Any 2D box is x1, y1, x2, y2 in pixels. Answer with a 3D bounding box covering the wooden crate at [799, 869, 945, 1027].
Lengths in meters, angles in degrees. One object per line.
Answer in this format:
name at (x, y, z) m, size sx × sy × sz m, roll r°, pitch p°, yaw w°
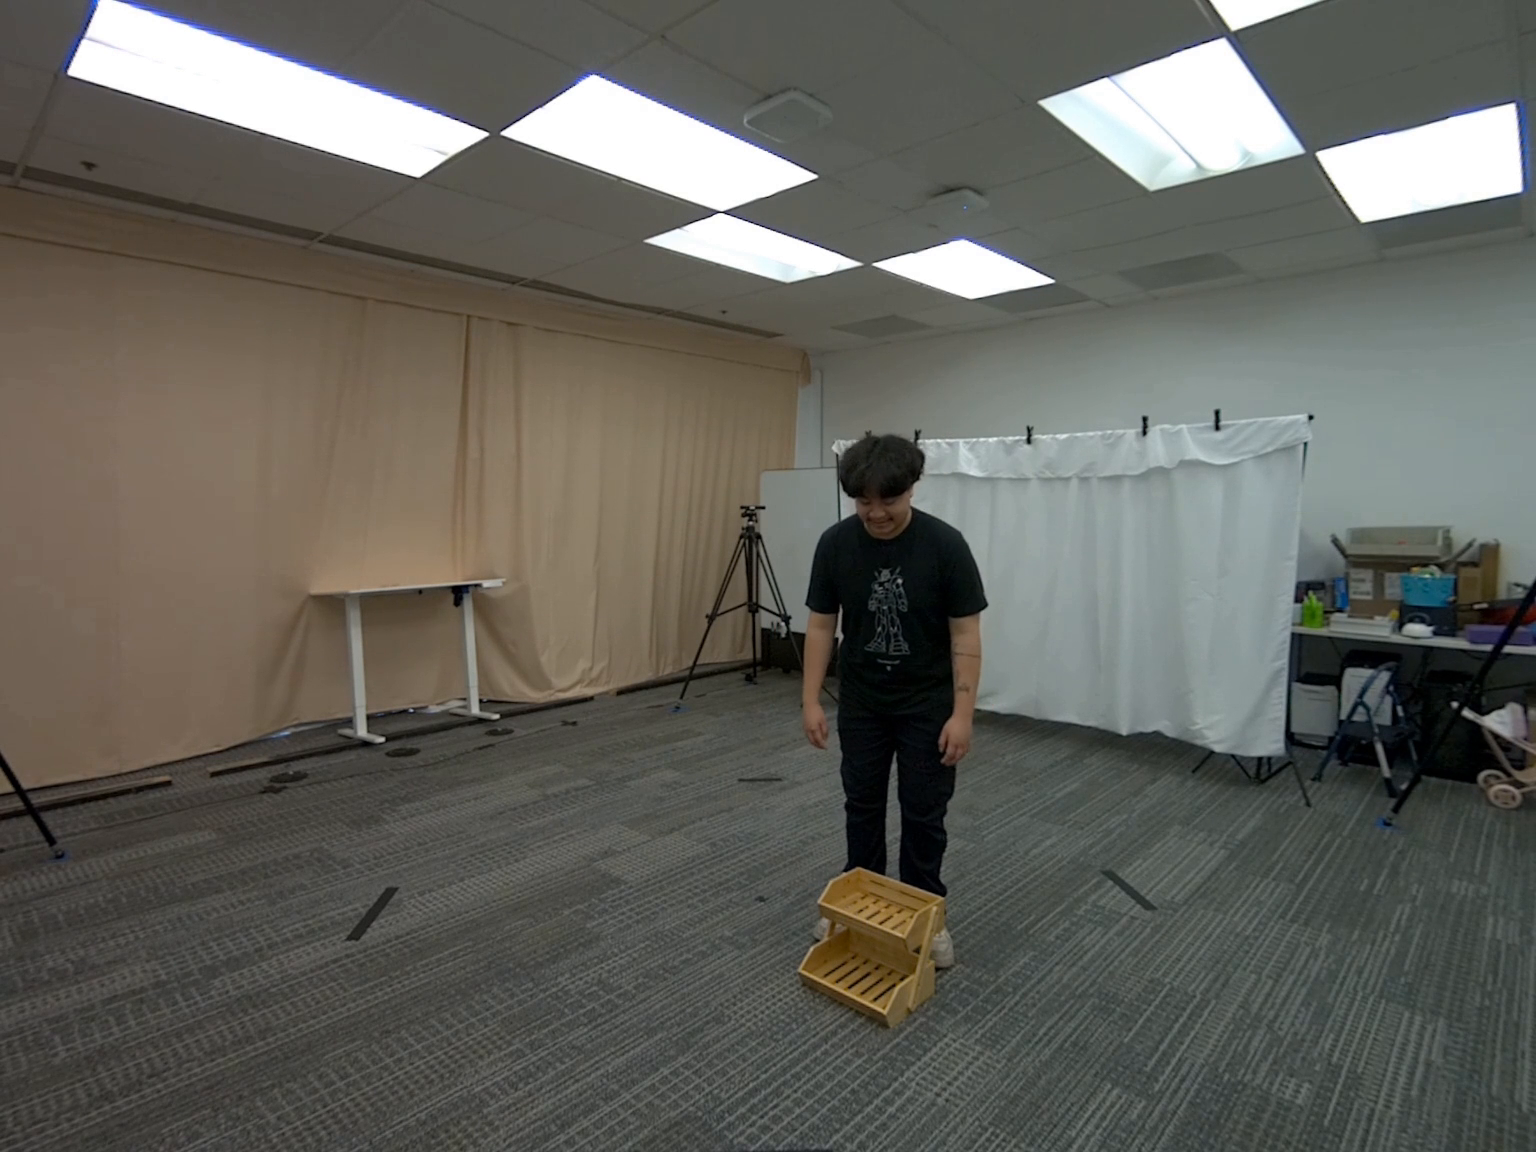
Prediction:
wooden crate at (0.303, 1.060, 2.428) m, size 0.335 × 0.273 × 0.293 m, roll 4°, pitch 5°, yaw 43°
